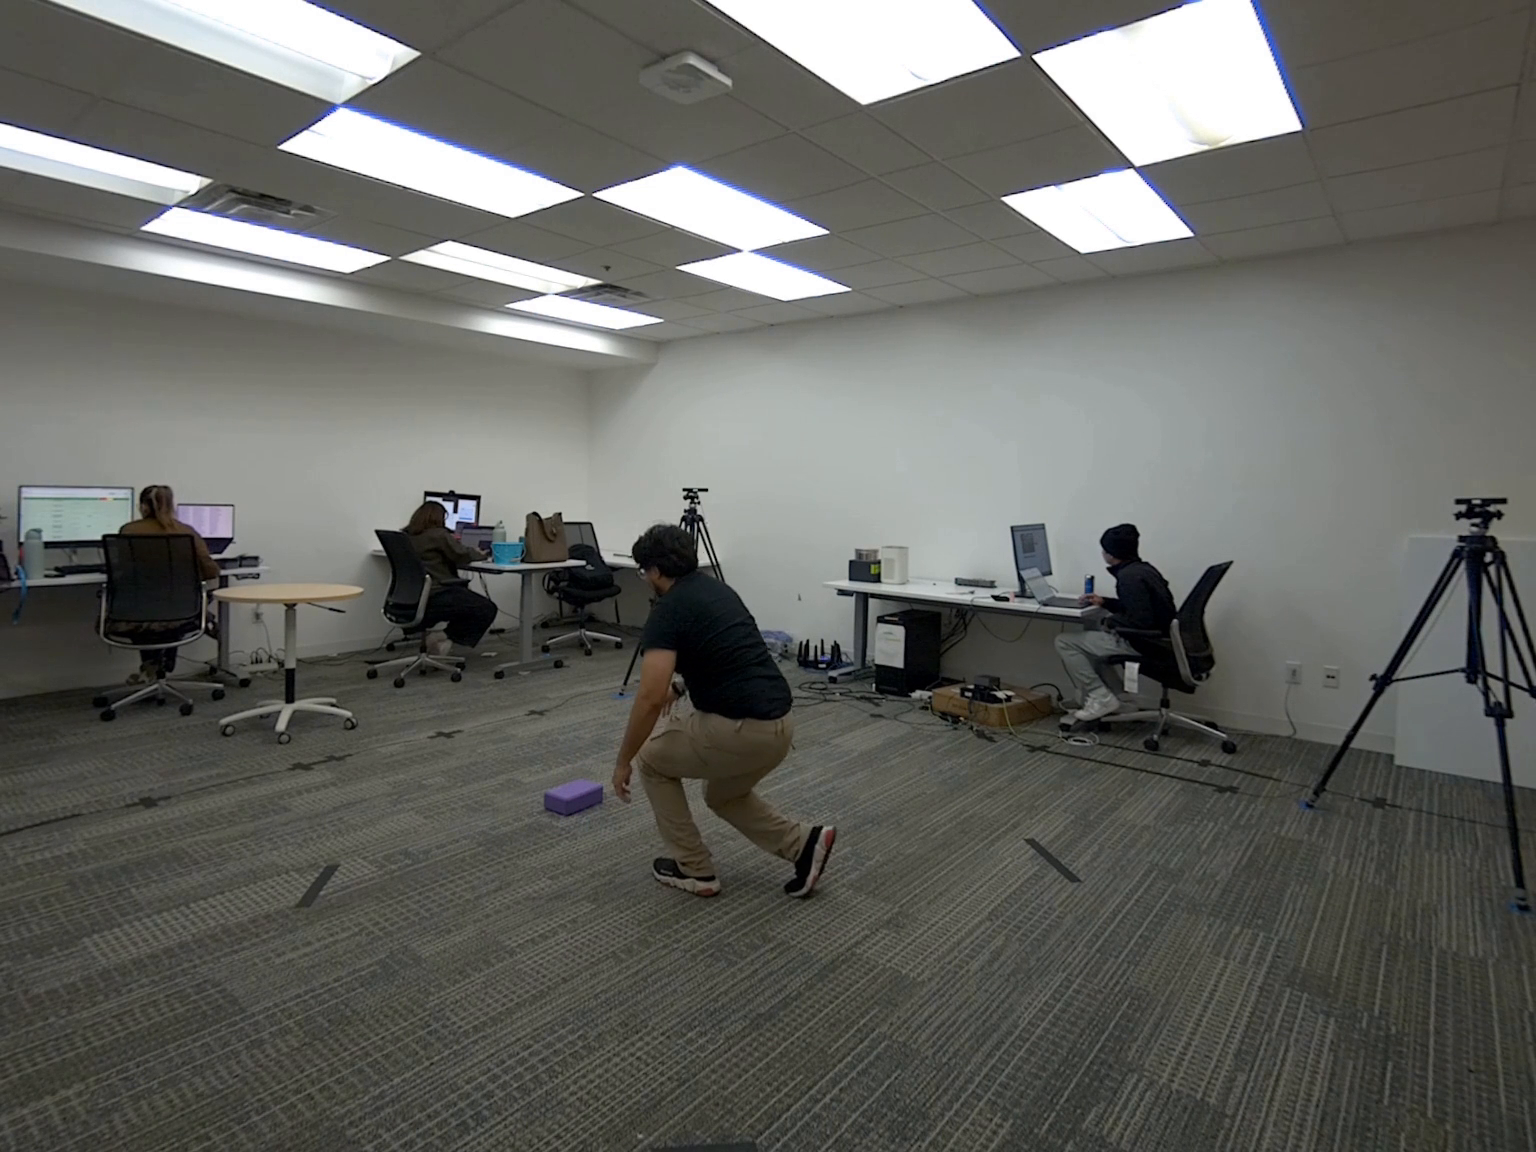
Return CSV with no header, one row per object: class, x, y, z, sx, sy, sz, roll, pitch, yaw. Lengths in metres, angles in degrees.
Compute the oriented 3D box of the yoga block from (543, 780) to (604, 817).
yoga block,-0.863,0.963,3.720,0.154,0.076,0.223,4,7,34
